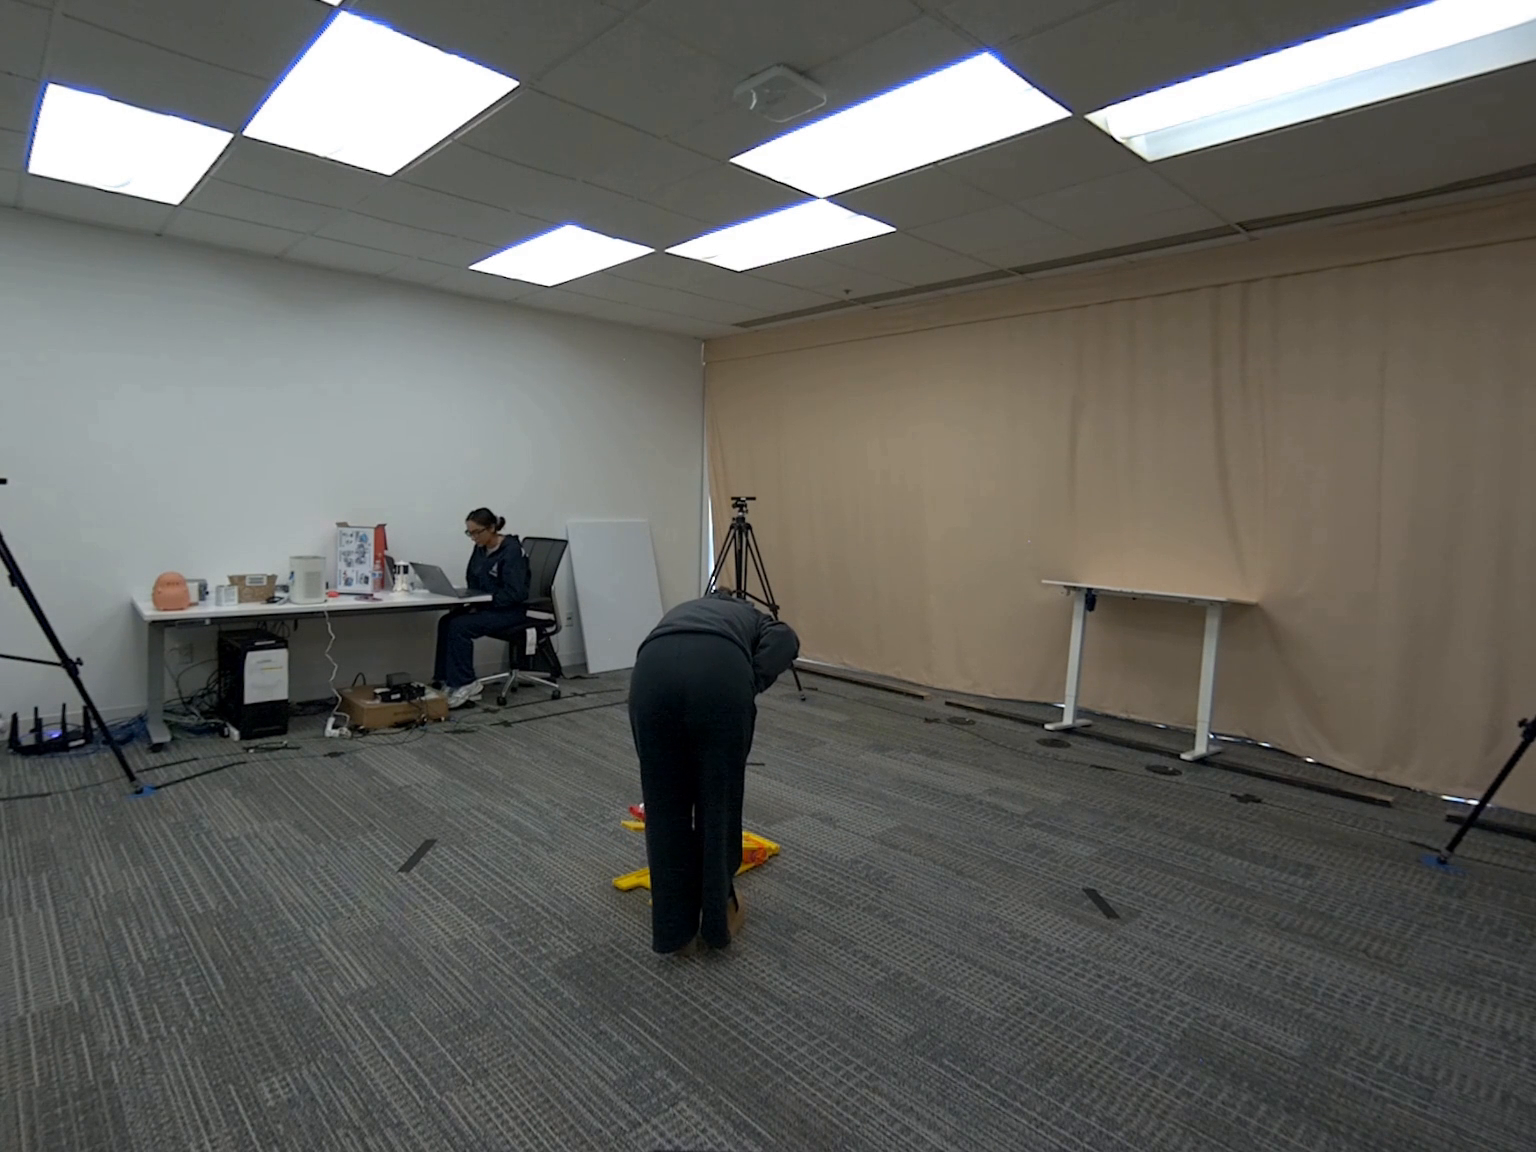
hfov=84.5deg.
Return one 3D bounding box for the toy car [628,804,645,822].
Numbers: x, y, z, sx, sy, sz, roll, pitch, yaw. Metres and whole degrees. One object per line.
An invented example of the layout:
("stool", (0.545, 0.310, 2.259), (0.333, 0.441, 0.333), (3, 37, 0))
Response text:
("toy car", (-0.390, 0.863, 2.974), (0.134, 0.083, 0.247), (9, -18, 47))
